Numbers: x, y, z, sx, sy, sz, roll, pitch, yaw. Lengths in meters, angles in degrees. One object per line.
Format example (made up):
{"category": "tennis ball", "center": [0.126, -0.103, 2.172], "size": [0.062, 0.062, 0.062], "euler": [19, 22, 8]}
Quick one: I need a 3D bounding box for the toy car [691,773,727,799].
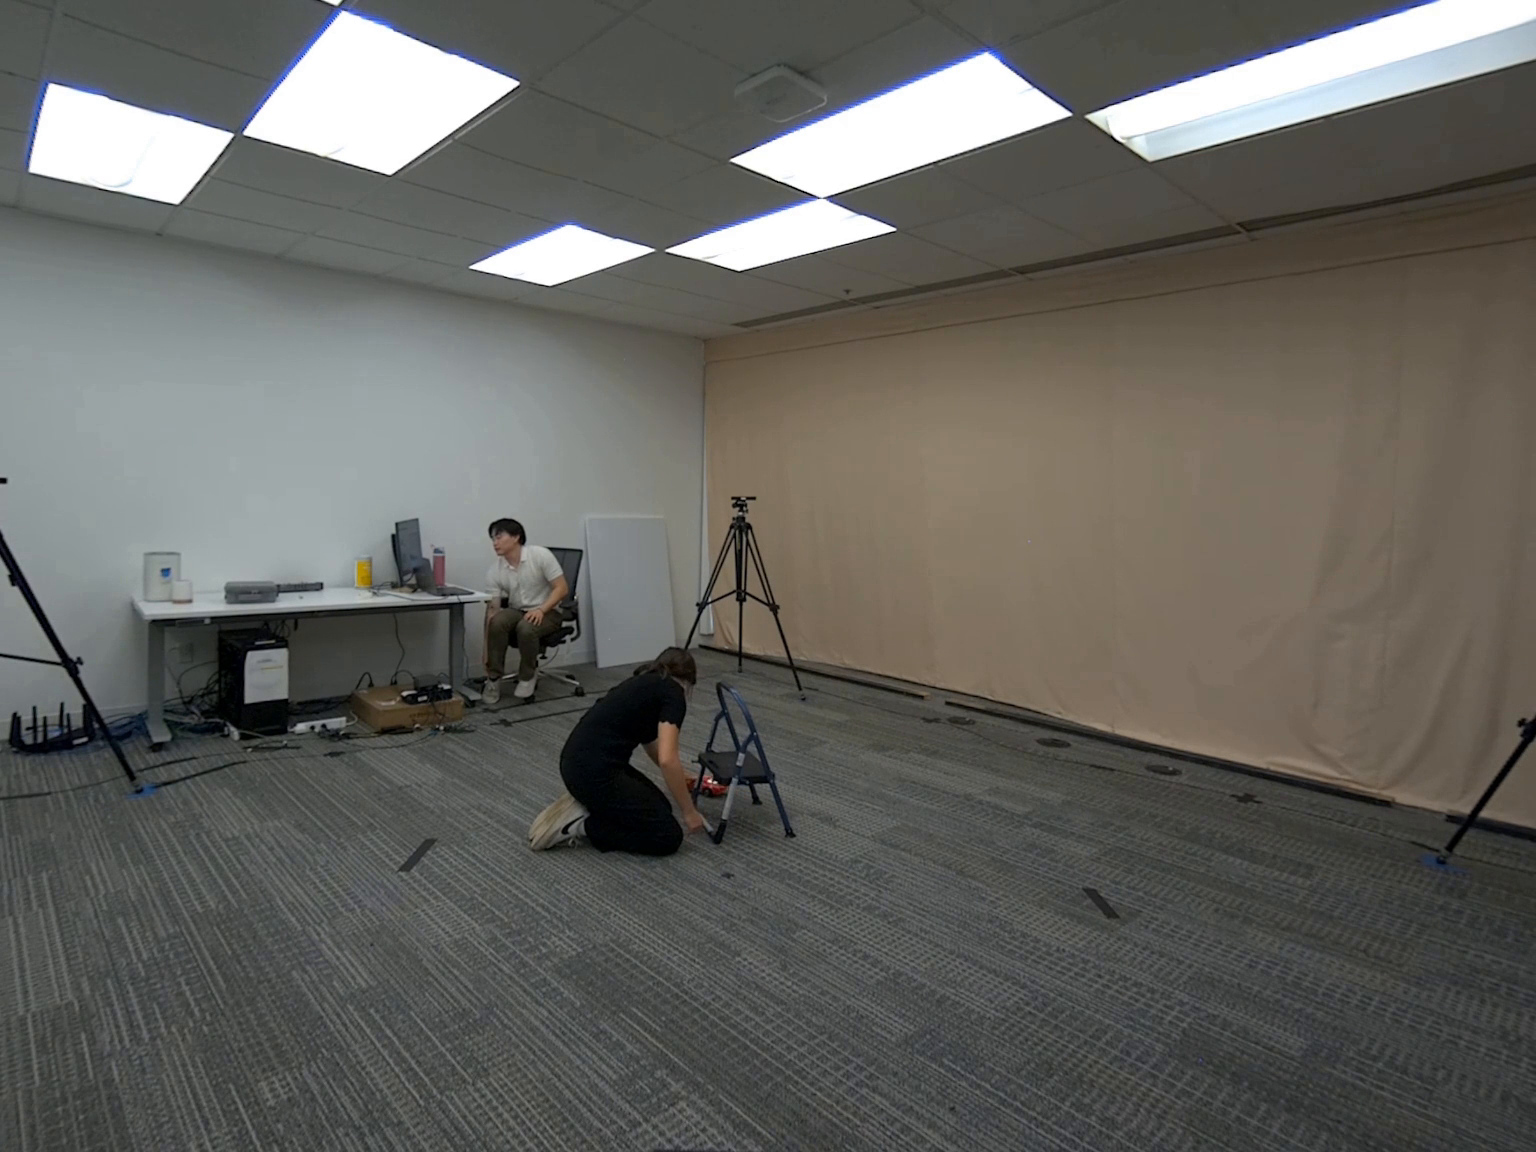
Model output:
{"category": "toy car", "center": [-0.317, 0.998, 3.989], "size": [0.258, 0.083, 0.128], "euler": [-10, -6, 25]}
